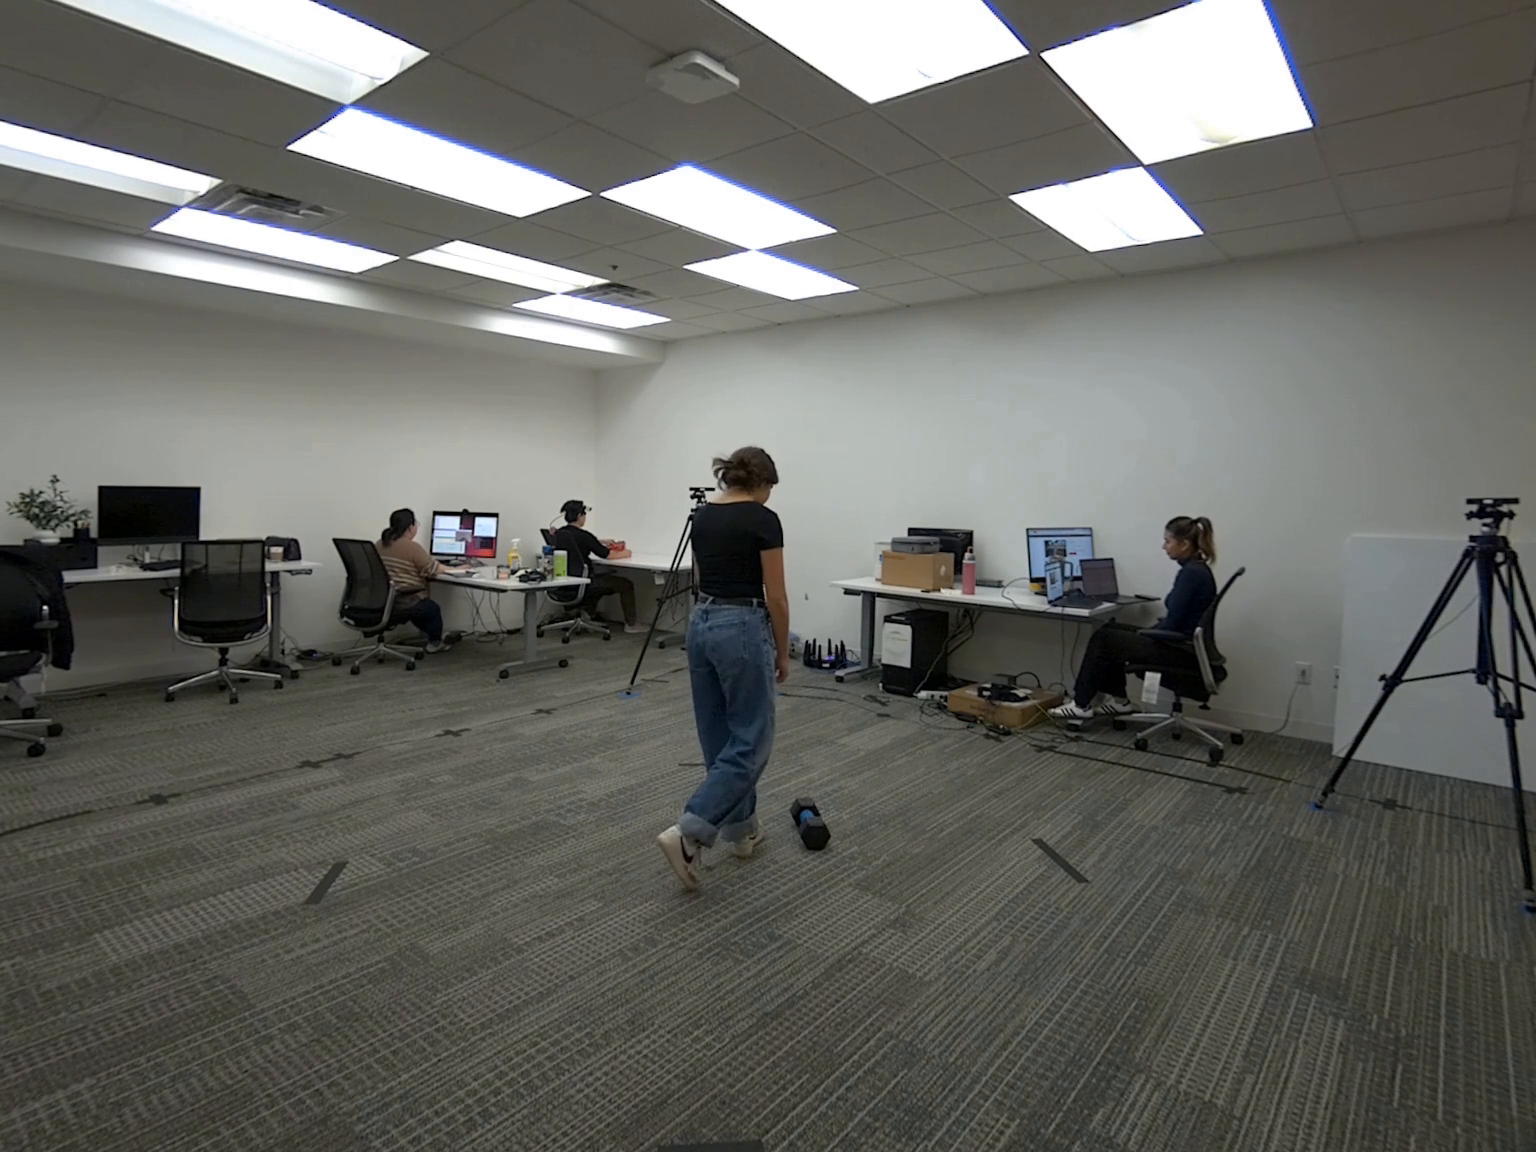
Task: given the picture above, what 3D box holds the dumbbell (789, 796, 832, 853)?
[{"bbox_3d":[0.162,0.990,3.426,0.108,0.122,0.297,-29,9,-4],"label":"dumbbell"}]
